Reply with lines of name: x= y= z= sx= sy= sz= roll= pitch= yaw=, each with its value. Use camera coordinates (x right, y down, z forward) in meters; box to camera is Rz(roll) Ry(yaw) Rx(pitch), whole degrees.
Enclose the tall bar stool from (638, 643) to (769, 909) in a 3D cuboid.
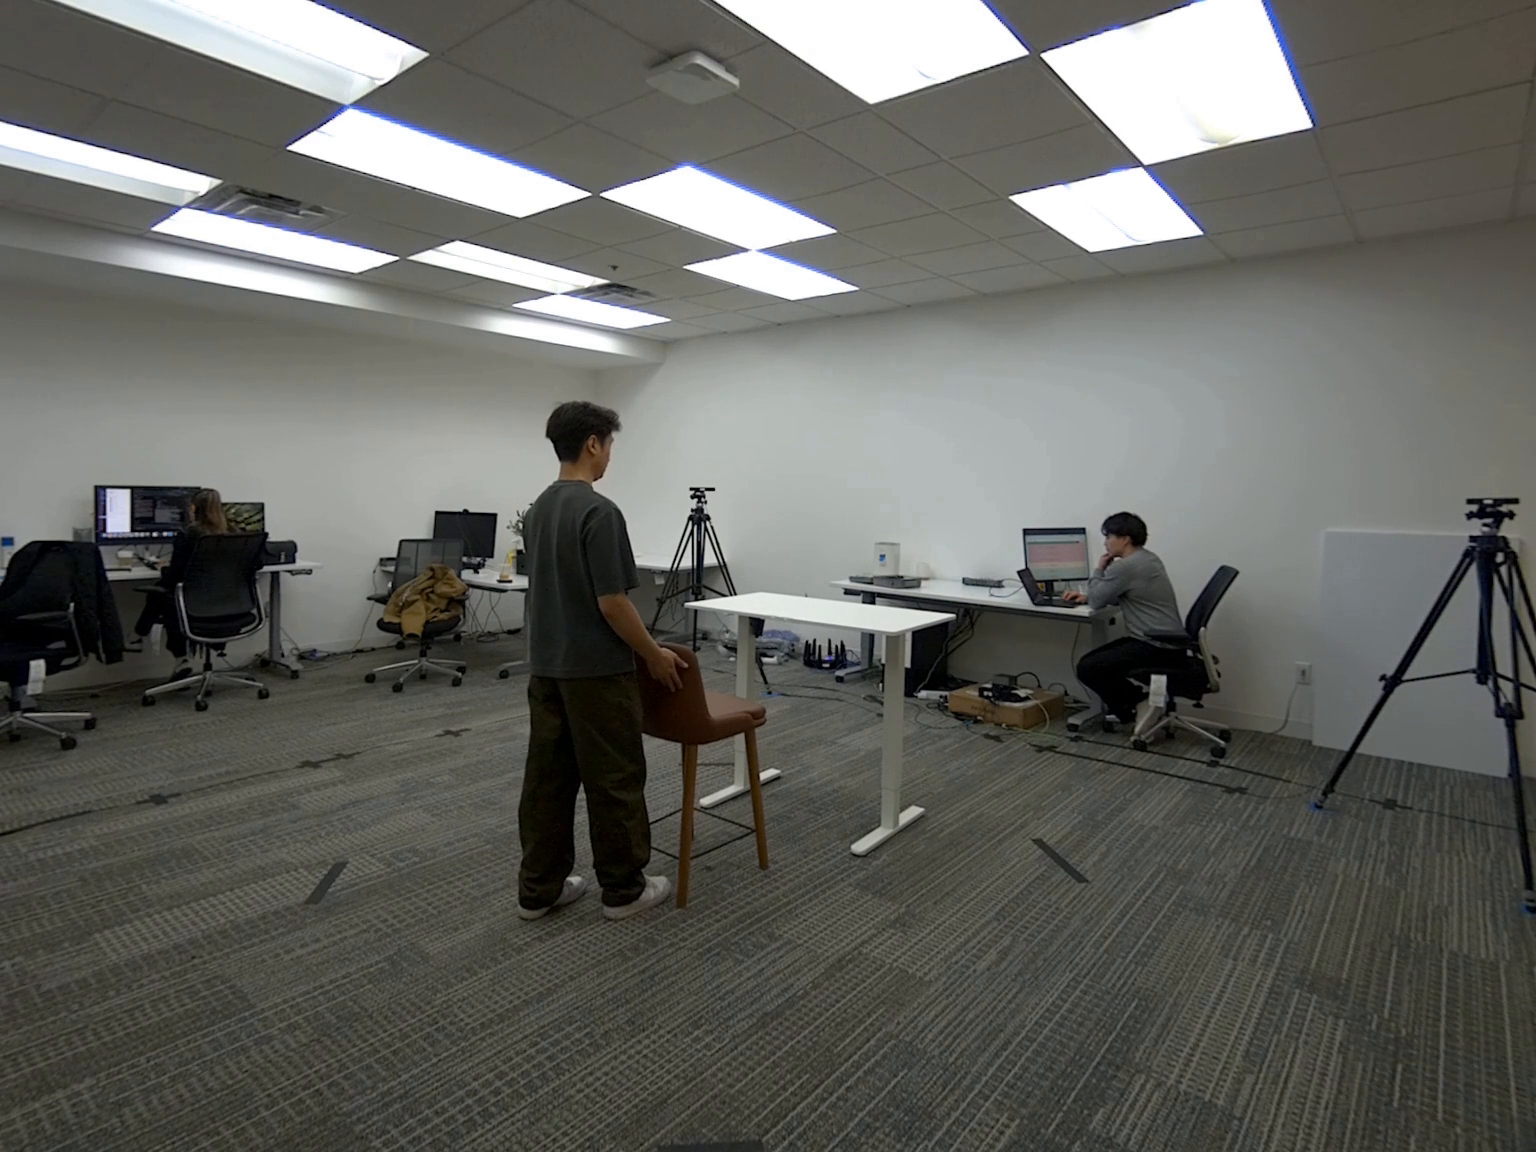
tall bar stool: x=-0.297 y=0.633 z=3.065 sx=0.472 sy=0.886 sz=0.454 roll=4 pitch=6 yaw=39
